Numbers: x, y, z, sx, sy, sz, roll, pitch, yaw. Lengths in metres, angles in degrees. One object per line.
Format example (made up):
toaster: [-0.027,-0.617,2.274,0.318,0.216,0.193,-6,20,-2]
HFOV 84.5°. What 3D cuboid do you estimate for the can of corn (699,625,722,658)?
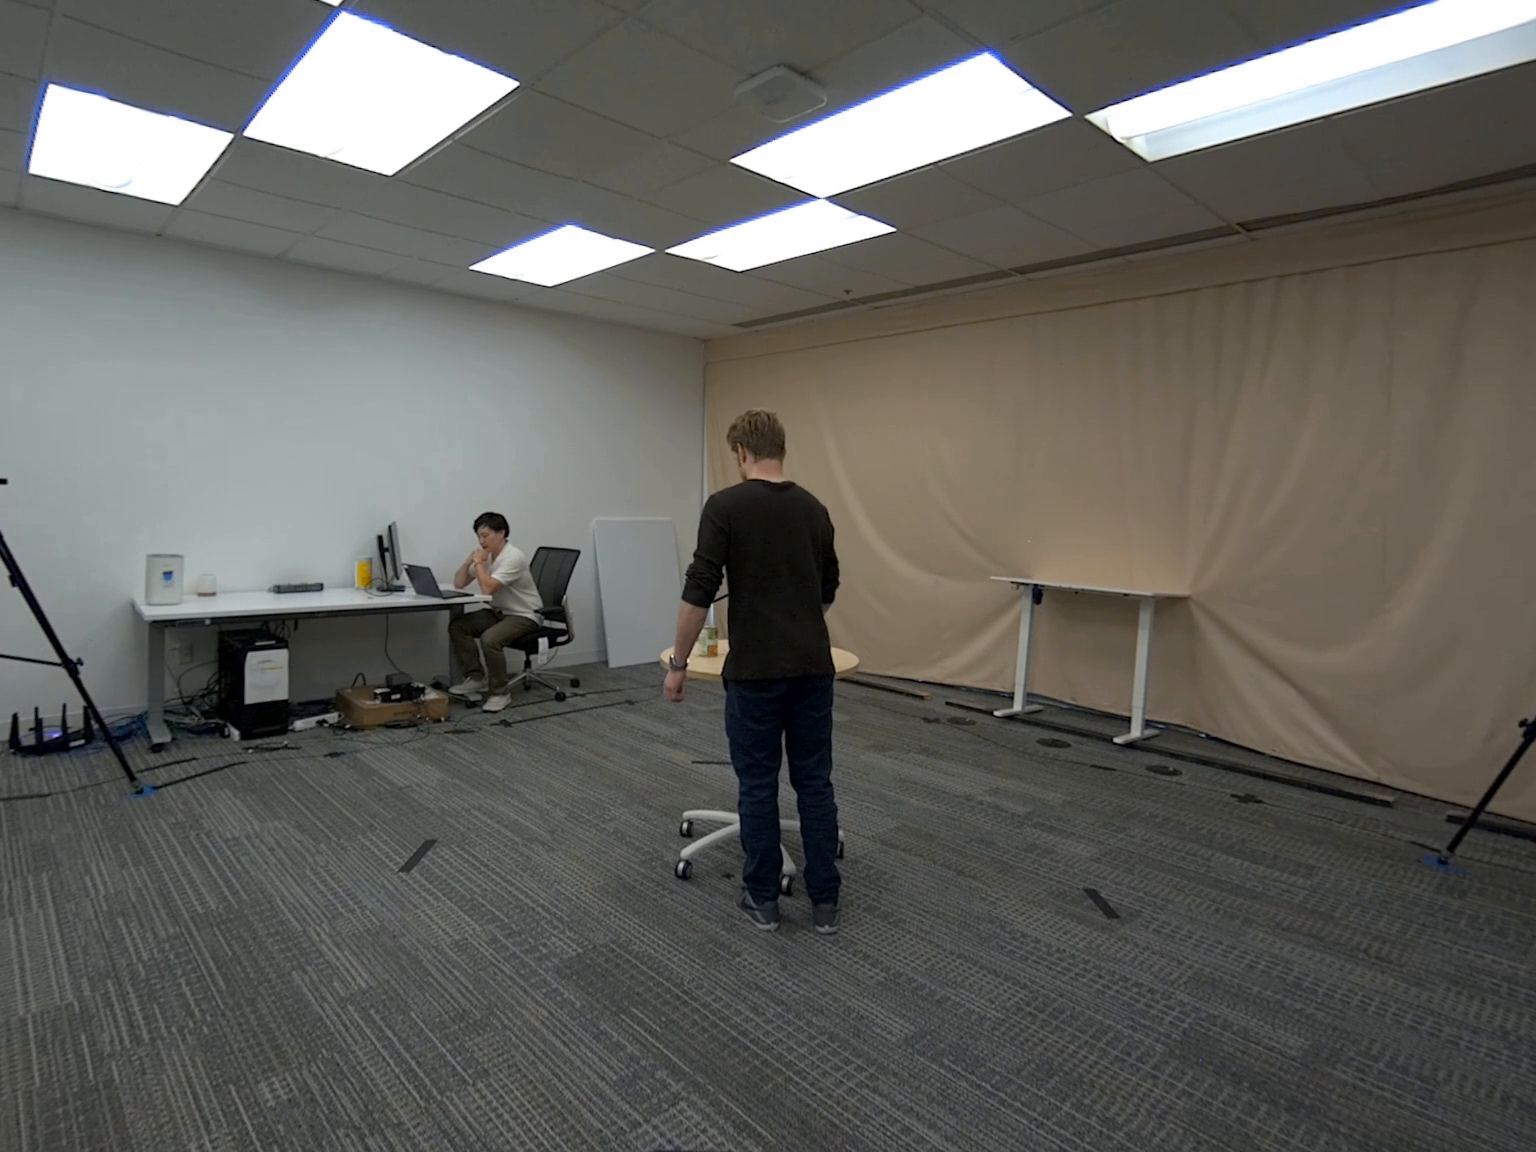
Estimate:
can of corn: [-0.223,0.250,3.255,0.074,0.111,0.074,4,0,-1]
